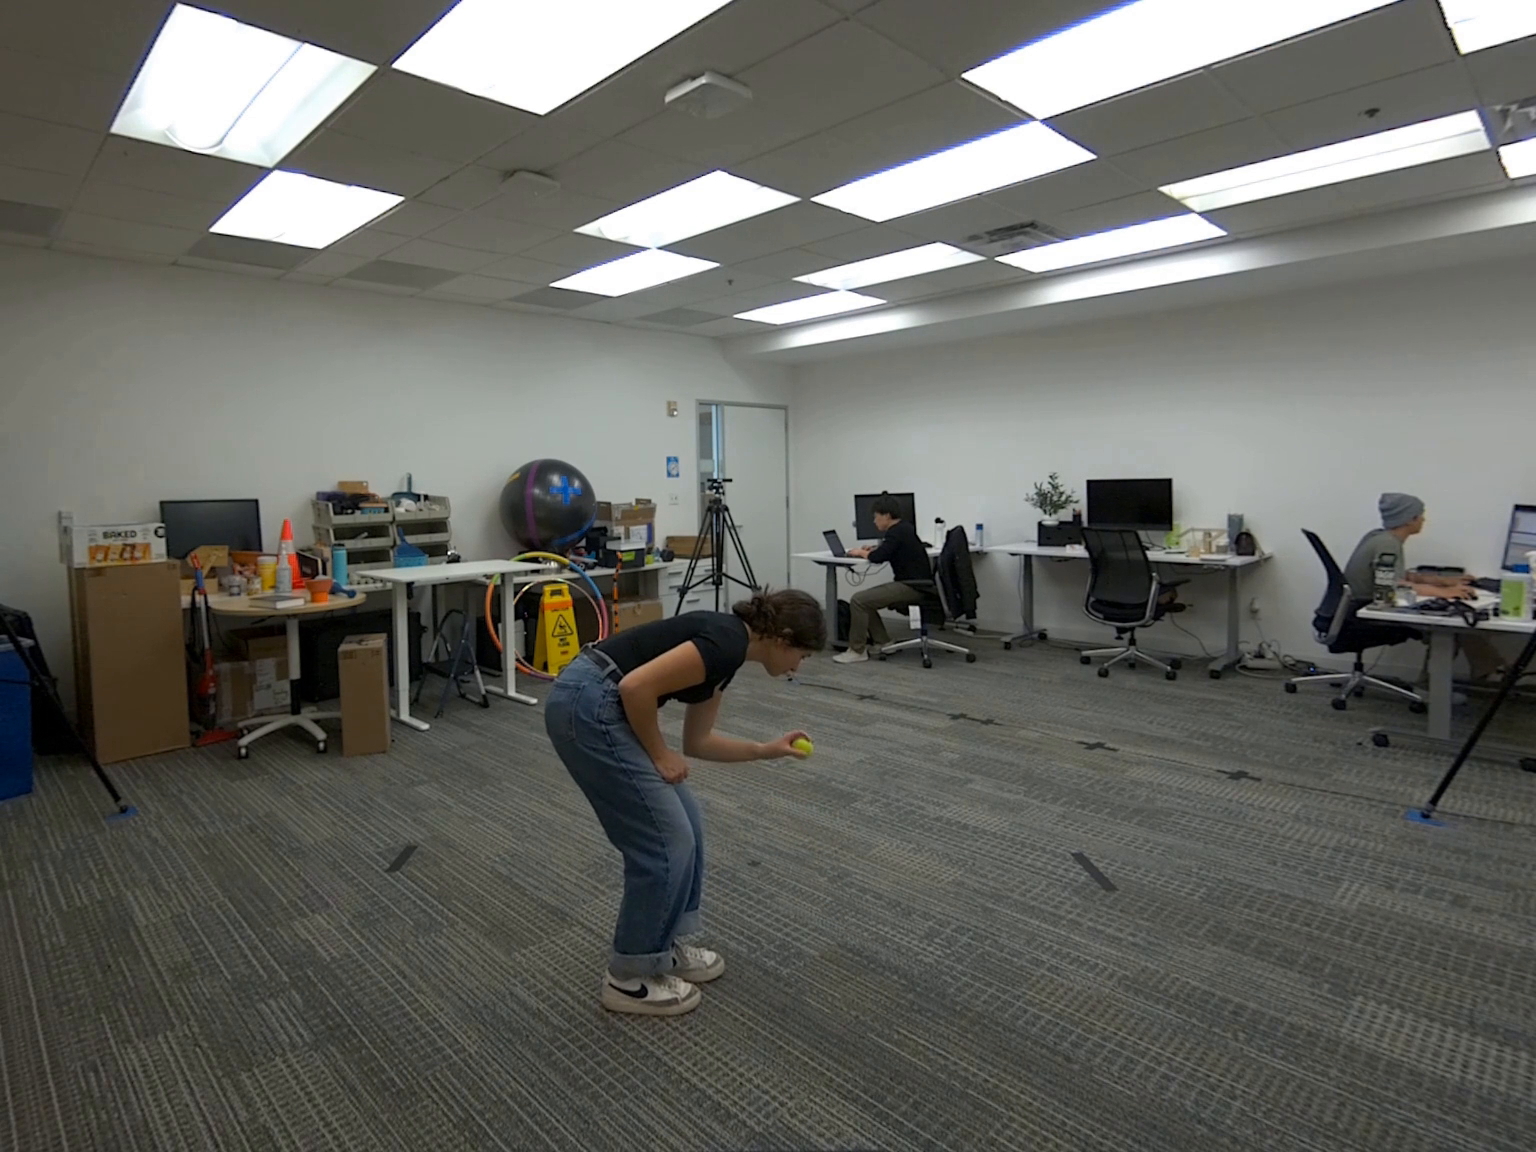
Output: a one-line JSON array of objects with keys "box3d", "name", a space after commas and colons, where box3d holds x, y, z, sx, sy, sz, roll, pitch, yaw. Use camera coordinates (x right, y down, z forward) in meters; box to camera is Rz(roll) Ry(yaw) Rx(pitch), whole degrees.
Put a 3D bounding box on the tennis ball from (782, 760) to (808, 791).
[{"box3d": [0.079, 0.592, 2.554, 0.066, 0.066, 0.067, -1, 5, -2], "name": "tennis ball"}]
